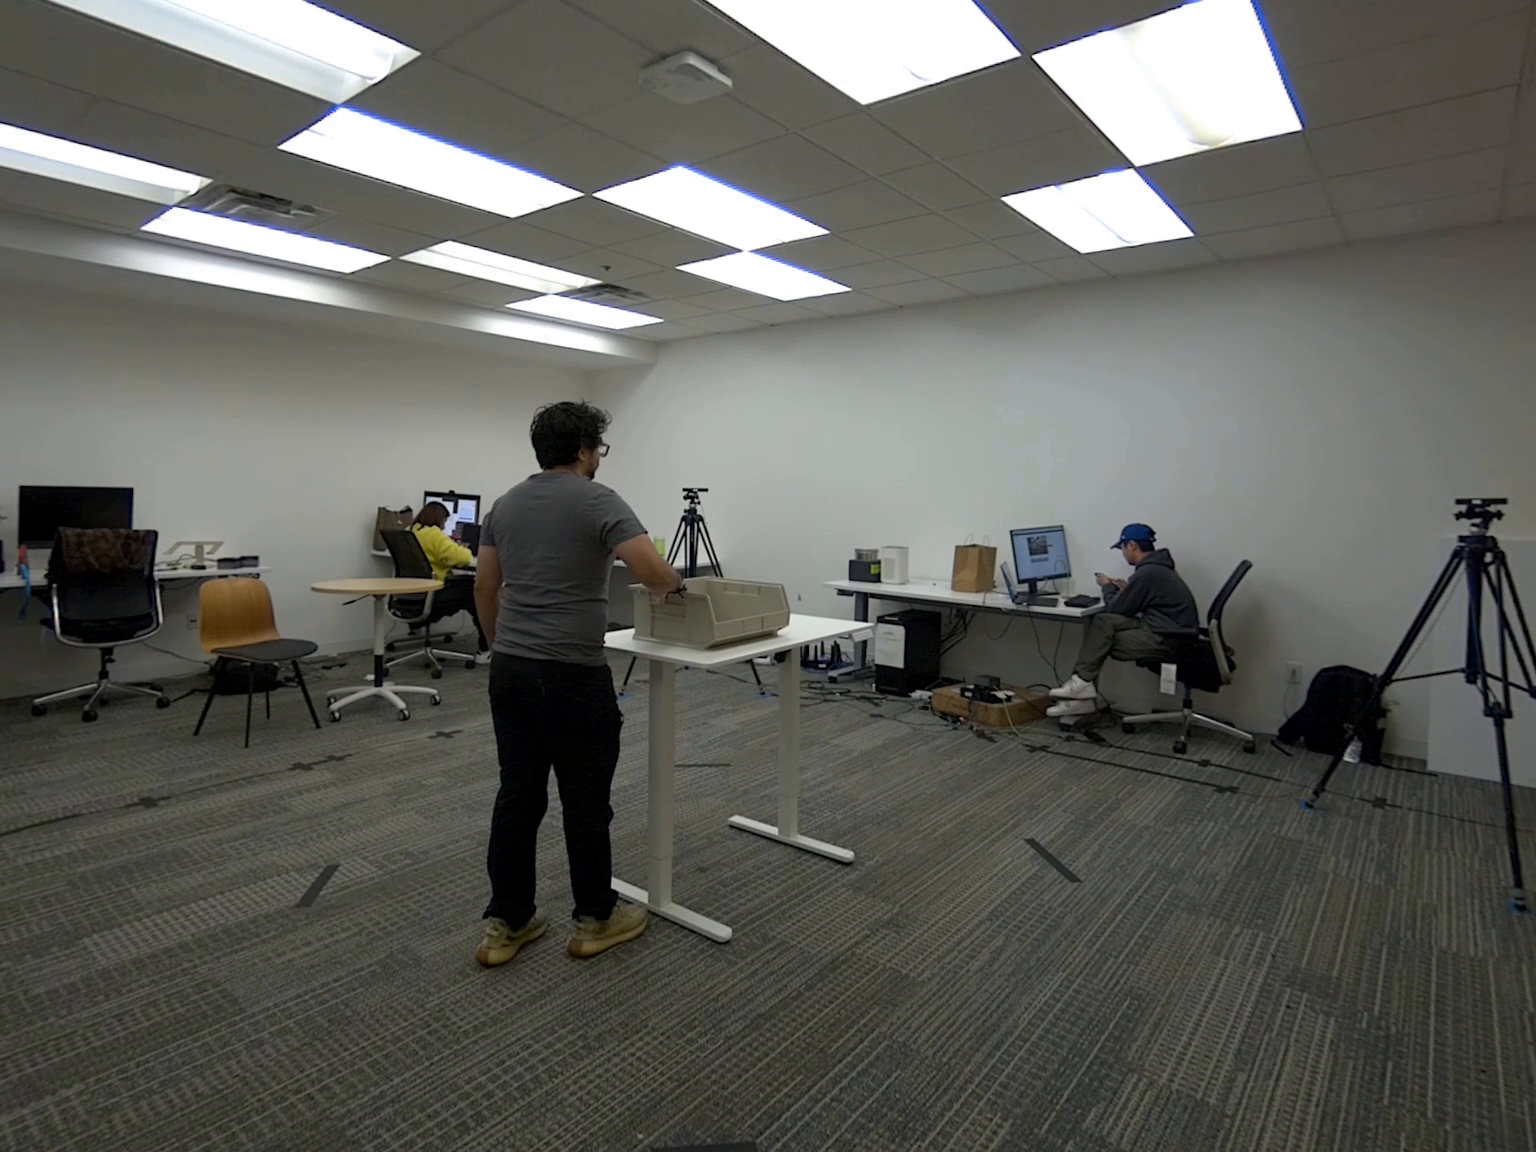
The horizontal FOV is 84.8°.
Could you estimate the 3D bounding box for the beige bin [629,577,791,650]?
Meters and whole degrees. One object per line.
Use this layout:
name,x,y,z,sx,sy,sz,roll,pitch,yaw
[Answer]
beige bin,-0.204,0.116,2.905,0.389,0.188,0.410,3,6,38
